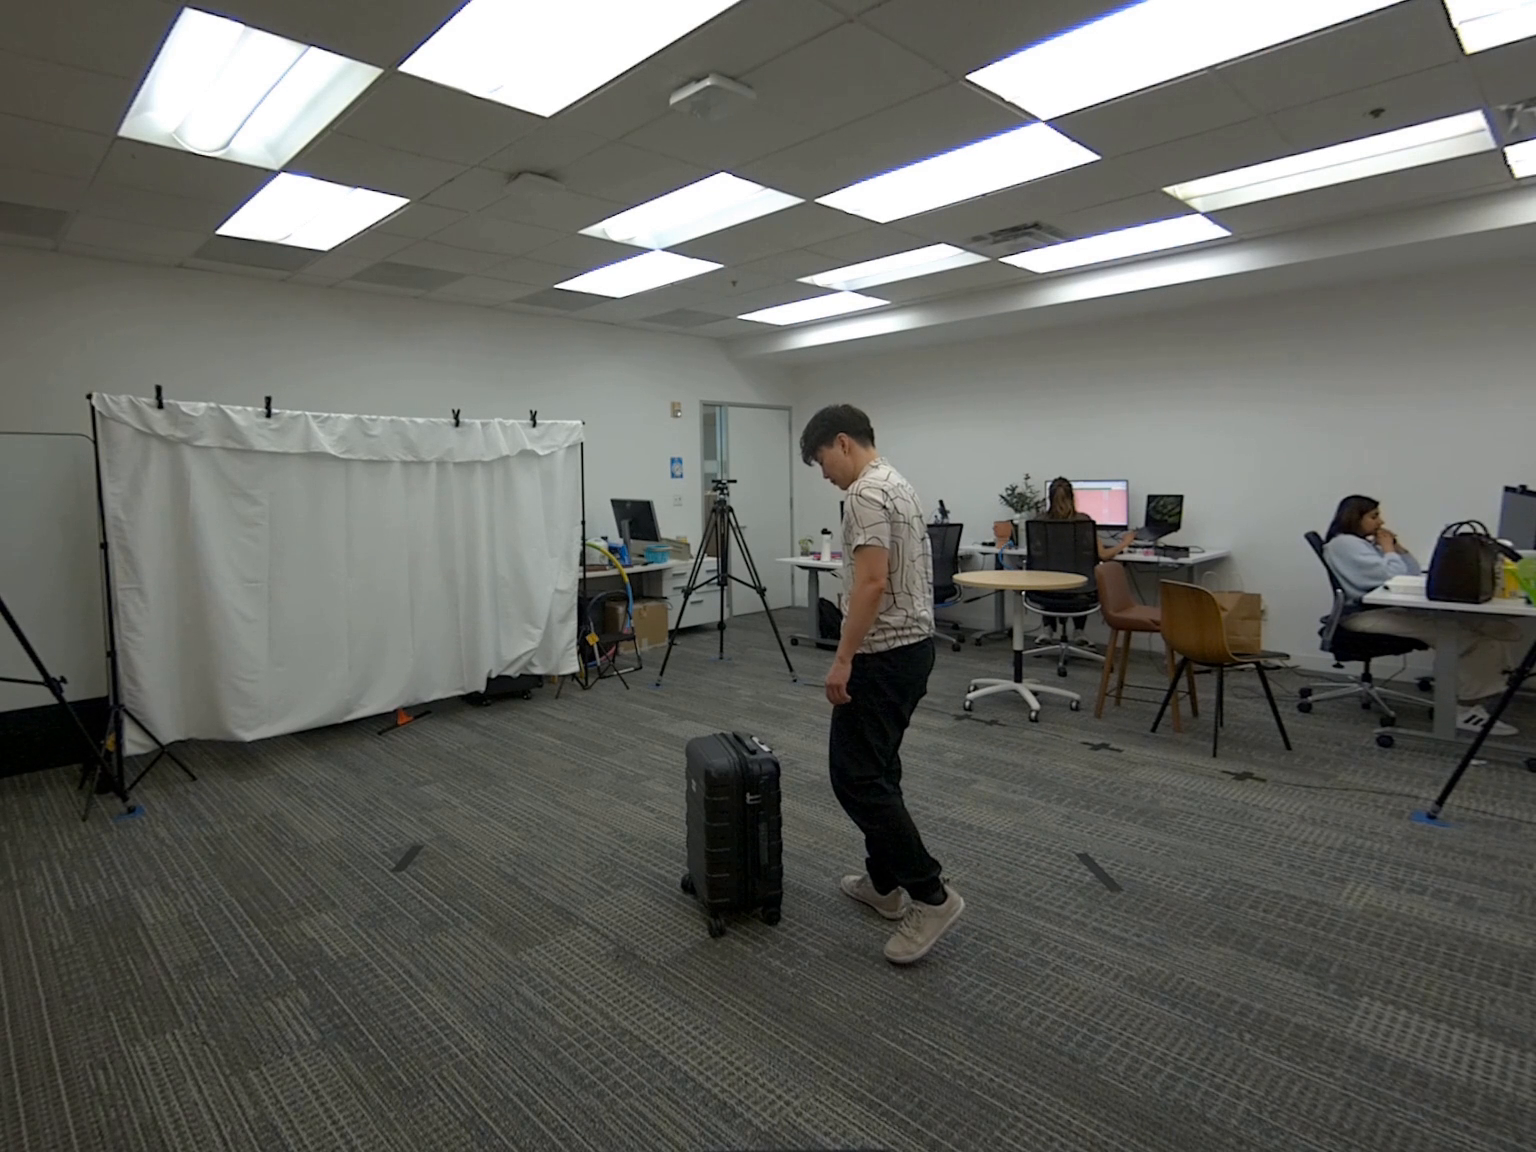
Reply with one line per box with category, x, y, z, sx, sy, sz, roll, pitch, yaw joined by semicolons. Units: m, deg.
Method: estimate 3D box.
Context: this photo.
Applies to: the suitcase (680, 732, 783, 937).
suitcase;-0.107;0.807;2.795;0.244;0.547;0.383;-2;5;-20
